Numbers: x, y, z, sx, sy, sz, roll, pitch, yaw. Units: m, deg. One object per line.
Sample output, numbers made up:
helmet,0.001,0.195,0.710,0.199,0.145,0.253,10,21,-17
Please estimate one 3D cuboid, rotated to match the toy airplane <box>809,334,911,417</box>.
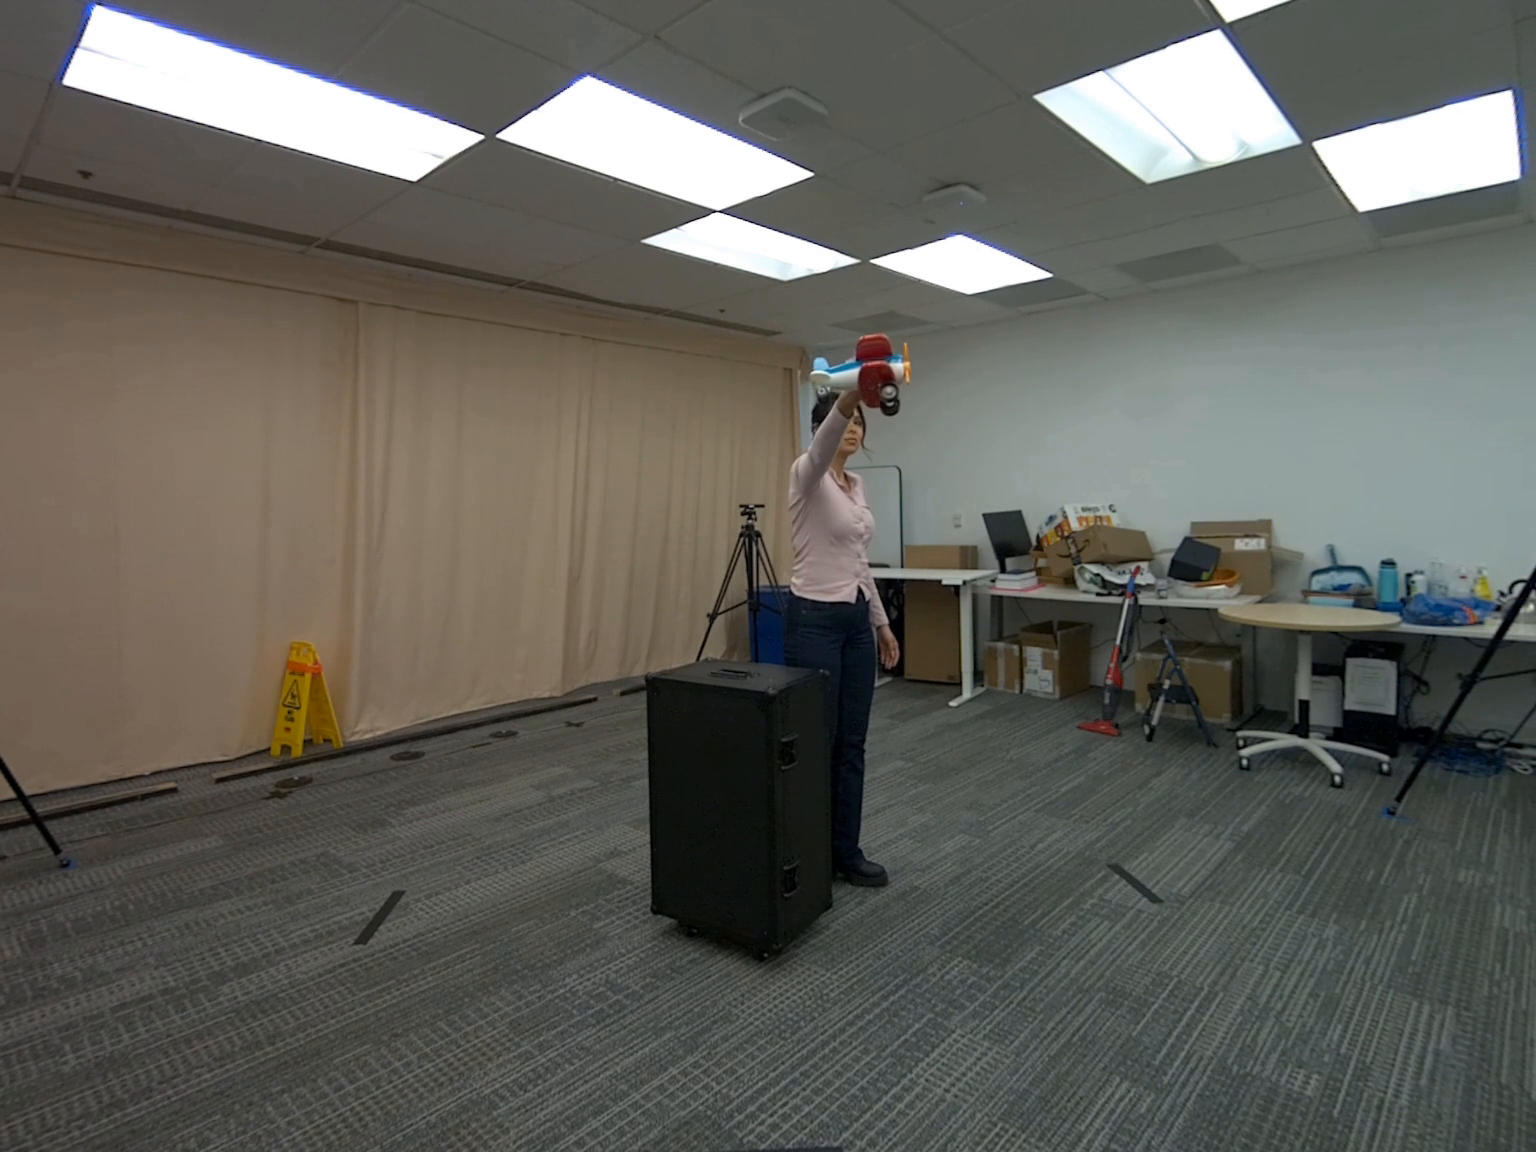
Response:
toy airplane,0.246,-0.529,2.231,0.255,0.157,0.254,15,-13,-14
